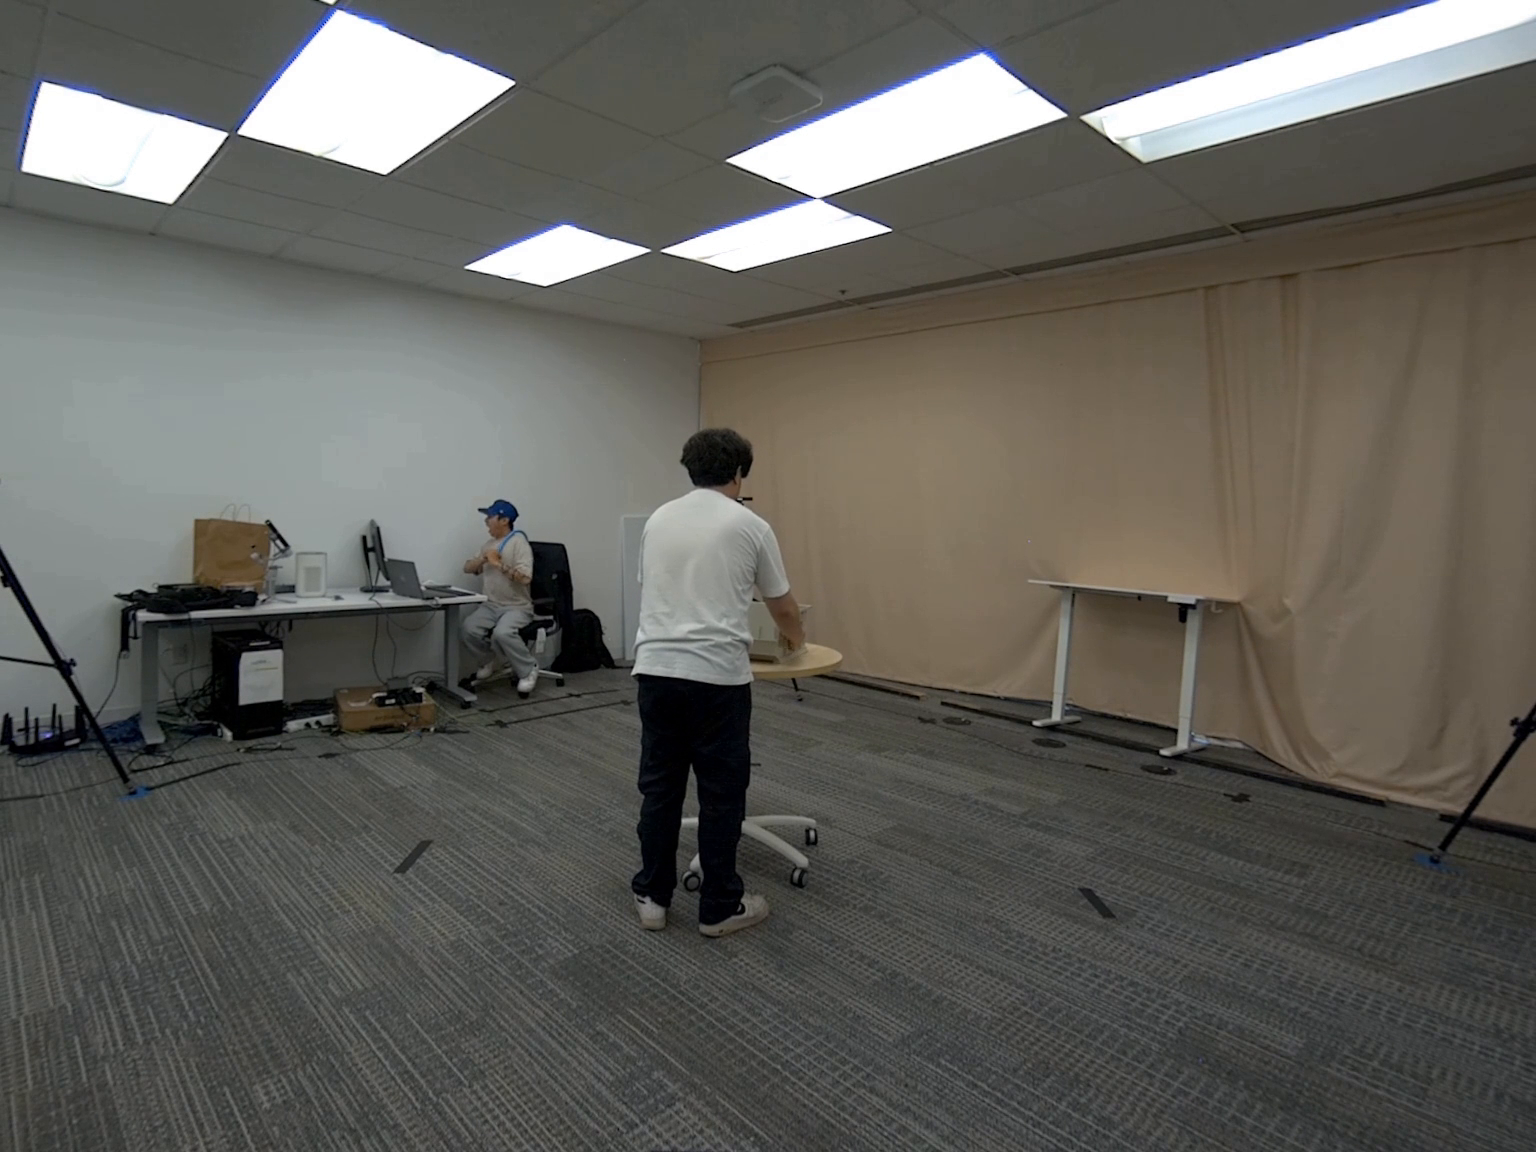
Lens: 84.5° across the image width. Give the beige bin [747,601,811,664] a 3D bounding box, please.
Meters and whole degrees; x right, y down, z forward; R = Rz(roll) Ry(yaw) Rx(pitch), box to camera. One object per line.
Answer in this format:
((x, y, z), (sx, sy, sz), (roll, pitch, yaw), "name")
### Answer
((-0.087, 0.215, 3.249), (0.430, 0.188, 0.371), (2, 4, 23), "beige bin")
